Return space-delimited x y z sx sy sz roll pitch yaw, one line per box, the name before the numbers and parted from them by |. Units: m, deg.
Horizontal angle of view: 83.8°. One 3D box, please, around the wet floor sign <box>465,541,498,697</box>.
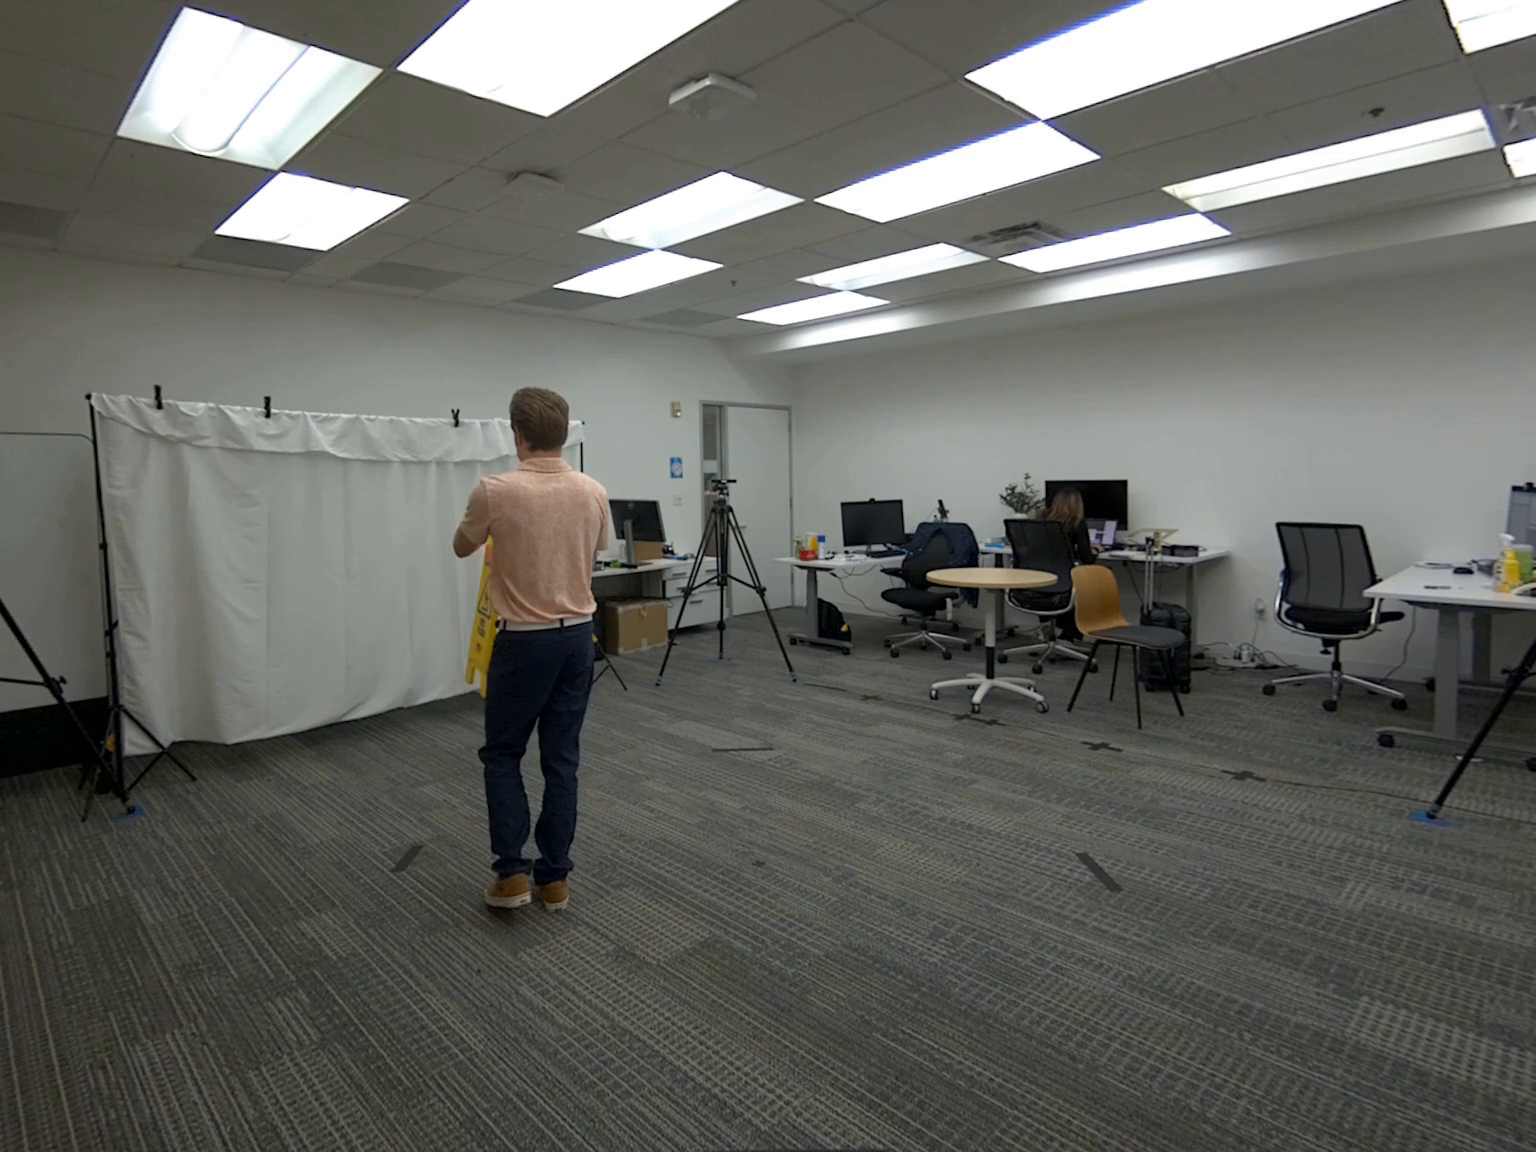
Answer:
wet floor sign | -1.005 0.099 3.255 0.283 0.642 0.291 -3 8 -32
